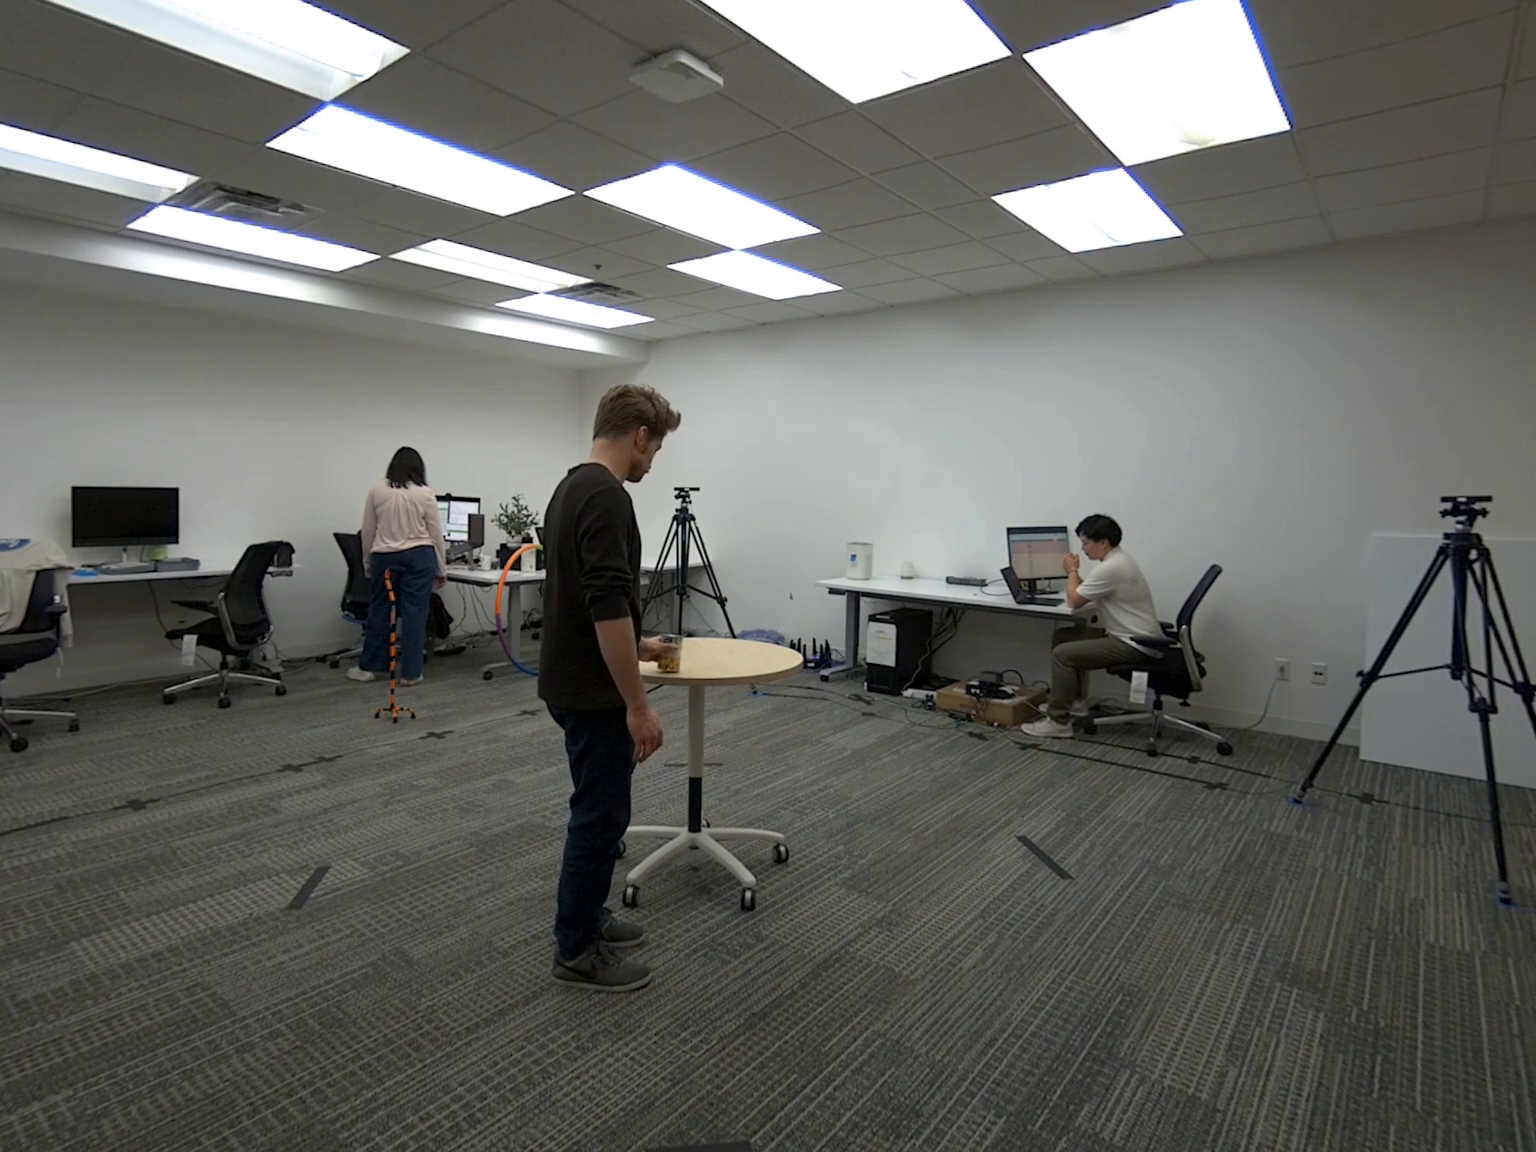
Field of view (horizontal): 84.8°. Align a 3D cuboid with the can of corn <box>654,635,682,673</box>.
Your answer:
[{"bbox_3d":[-0.331,0.250,2.797,0.074,0.111,0.074,1,-3,-2],"label":"can of corn"}]
